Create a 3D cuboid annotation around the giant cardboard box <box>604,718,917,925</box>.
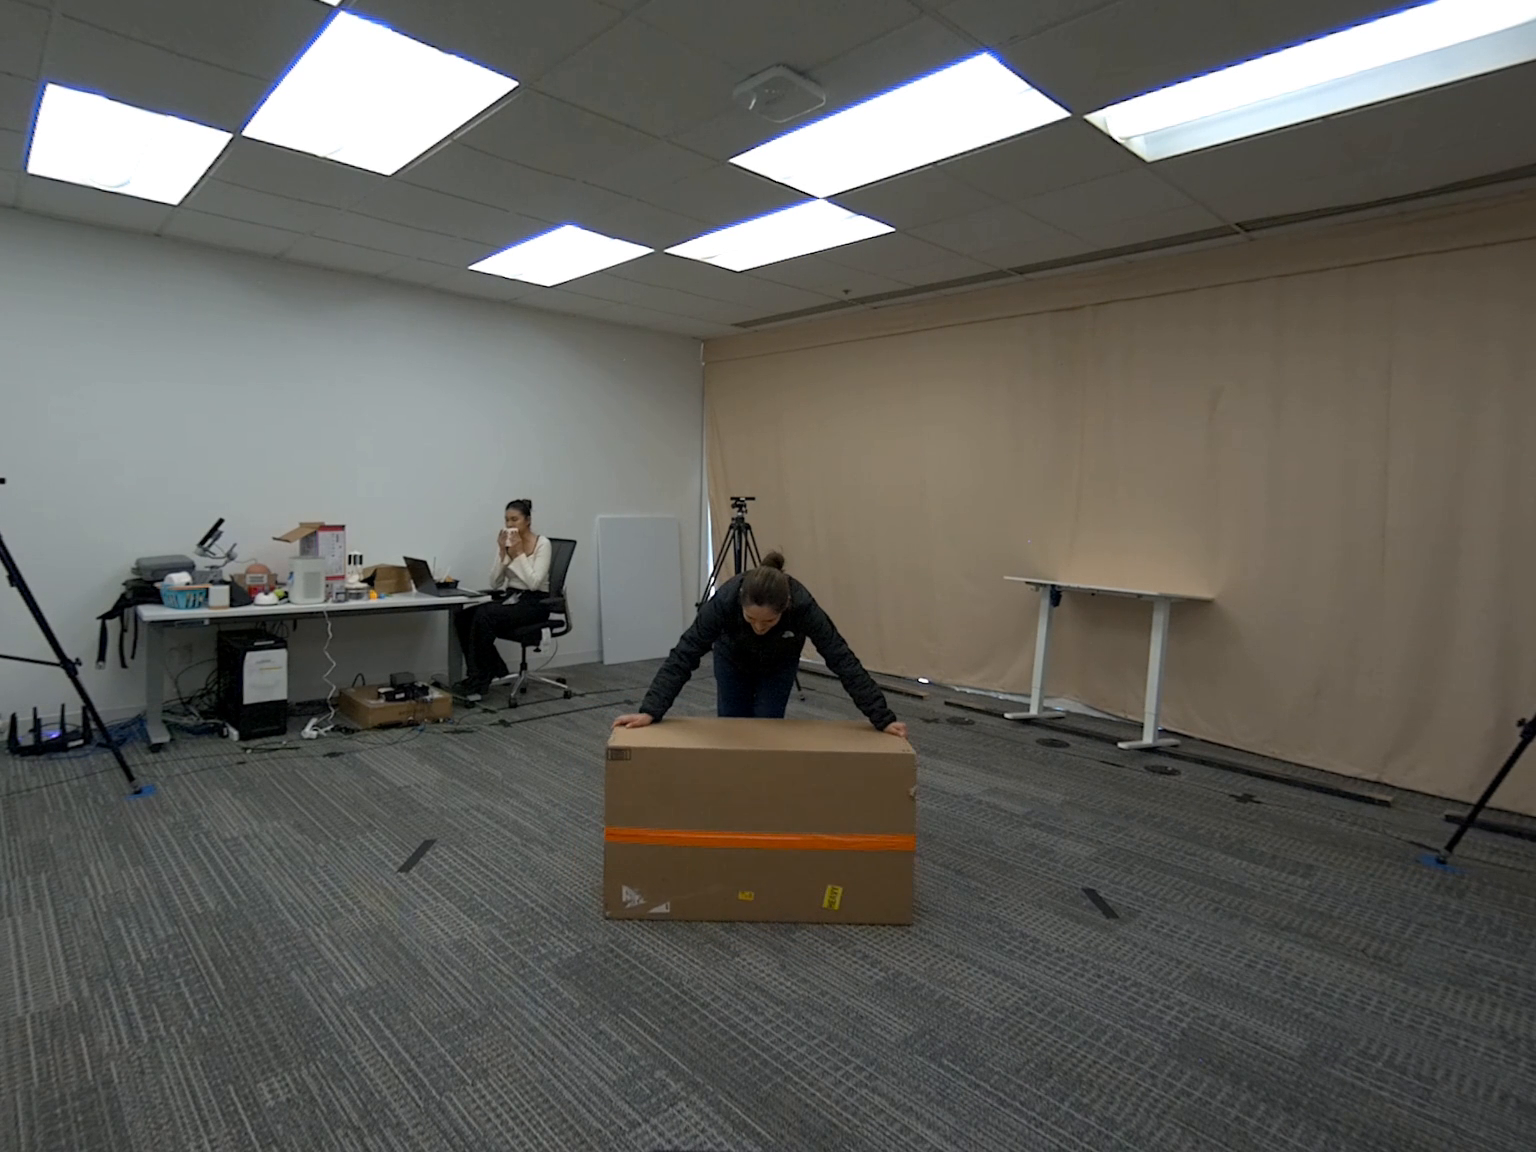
[{"bbox_3d":[-0.035,0.836,2.937,1.027,0.583,0.447,1,2,0],"label":"giant cardboard box"}]
